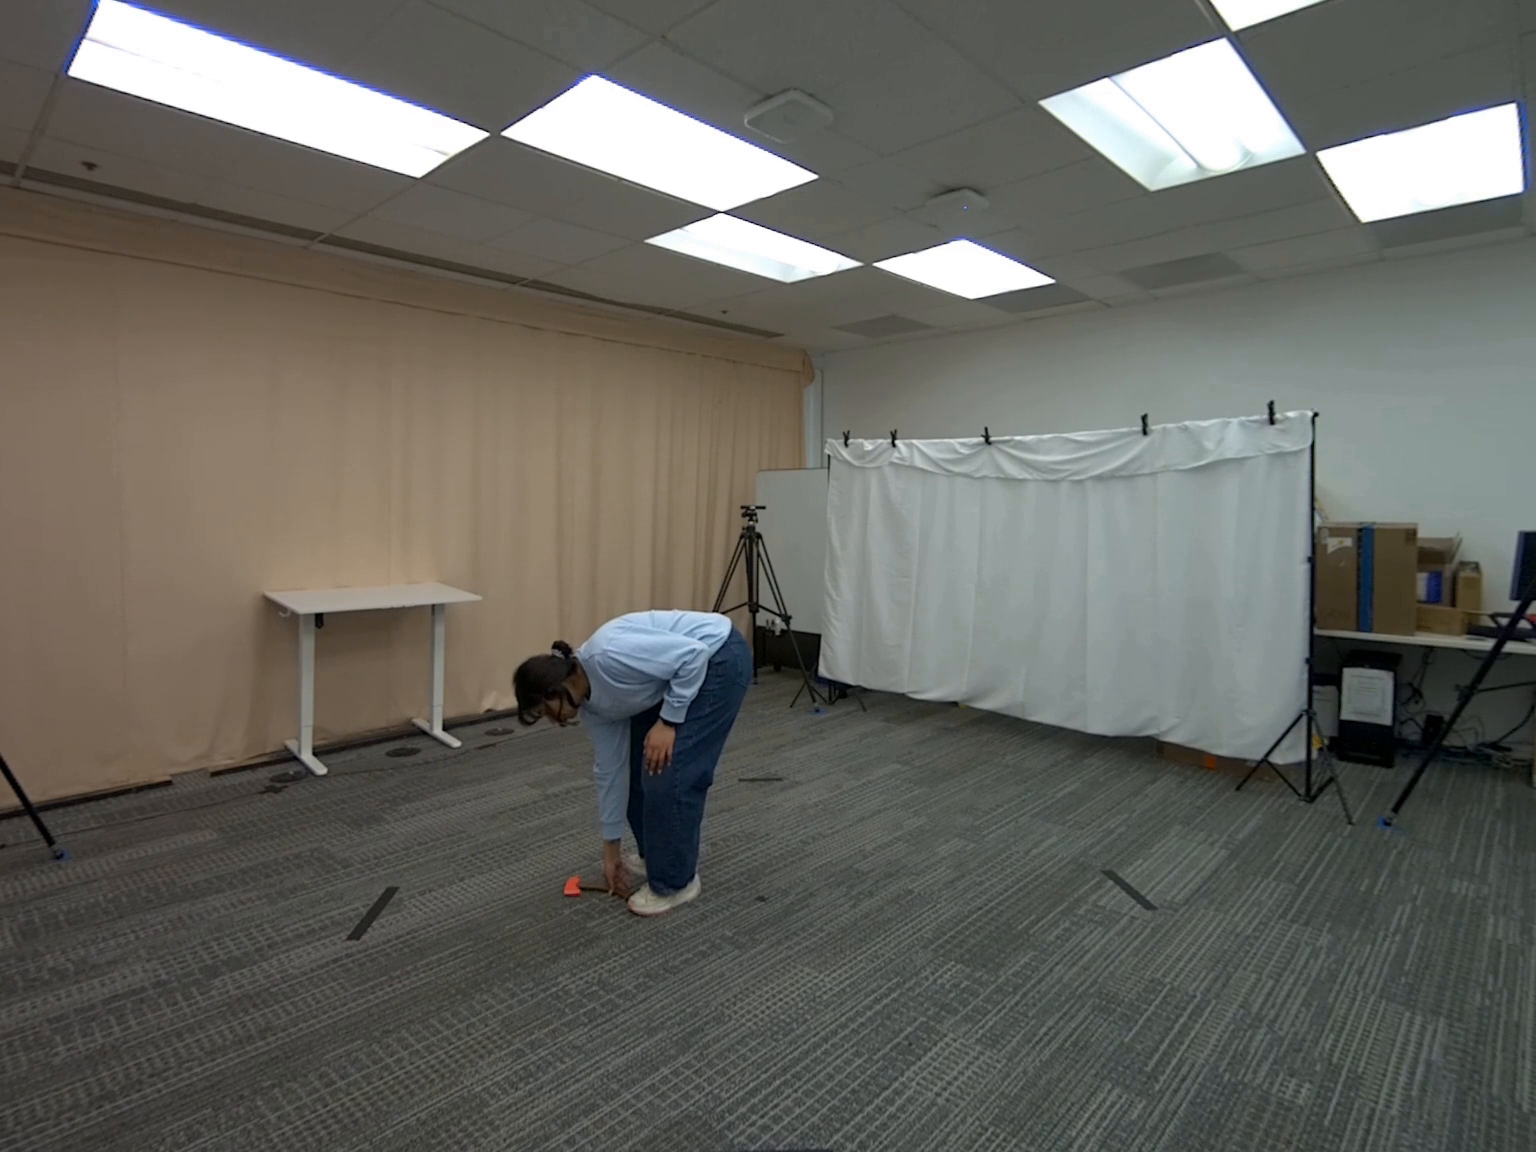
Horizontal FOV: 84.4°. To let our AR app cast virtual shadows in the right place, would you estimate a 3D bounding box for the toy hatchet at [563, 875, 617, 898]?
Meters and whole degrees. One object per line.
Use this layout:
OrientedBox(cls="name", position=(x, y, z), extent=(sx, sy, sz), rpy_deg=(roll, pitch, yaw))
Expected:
OrientedBox(cls="toy hatchet", position=(-0.614, 1.125, 3.023), extent=(0.278, 0.029, 0.127), rpy_deg=(6, 6, 32))
